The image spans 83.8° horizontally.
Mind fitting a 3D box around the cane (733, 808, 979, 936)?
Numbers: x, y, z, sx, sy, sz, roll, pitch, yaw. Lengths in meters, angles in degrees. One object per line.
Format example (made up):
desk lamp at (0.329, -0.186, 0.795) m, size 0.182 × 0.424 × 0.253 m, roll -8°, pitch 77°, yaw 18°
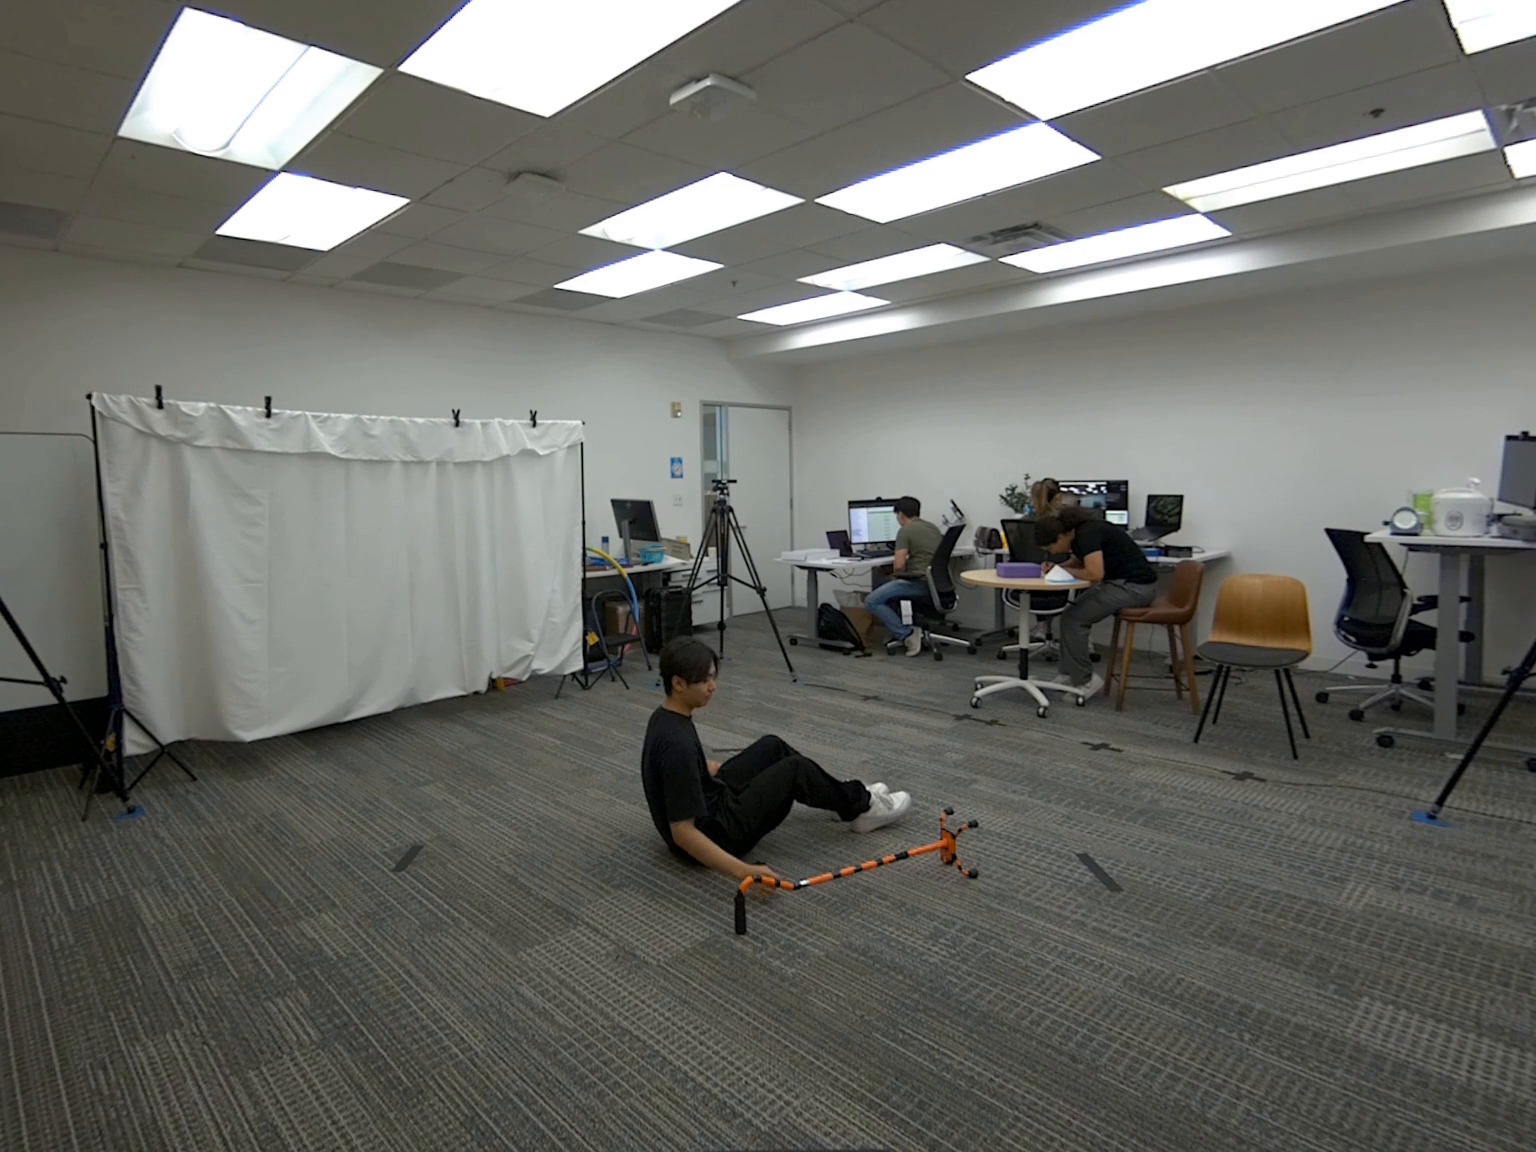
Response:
cane at (0.300, 0.964, 2.822) m, size 0.888 × 0.205 × 0.156 m, roll -5°, pitch 7°, yaw -28°
